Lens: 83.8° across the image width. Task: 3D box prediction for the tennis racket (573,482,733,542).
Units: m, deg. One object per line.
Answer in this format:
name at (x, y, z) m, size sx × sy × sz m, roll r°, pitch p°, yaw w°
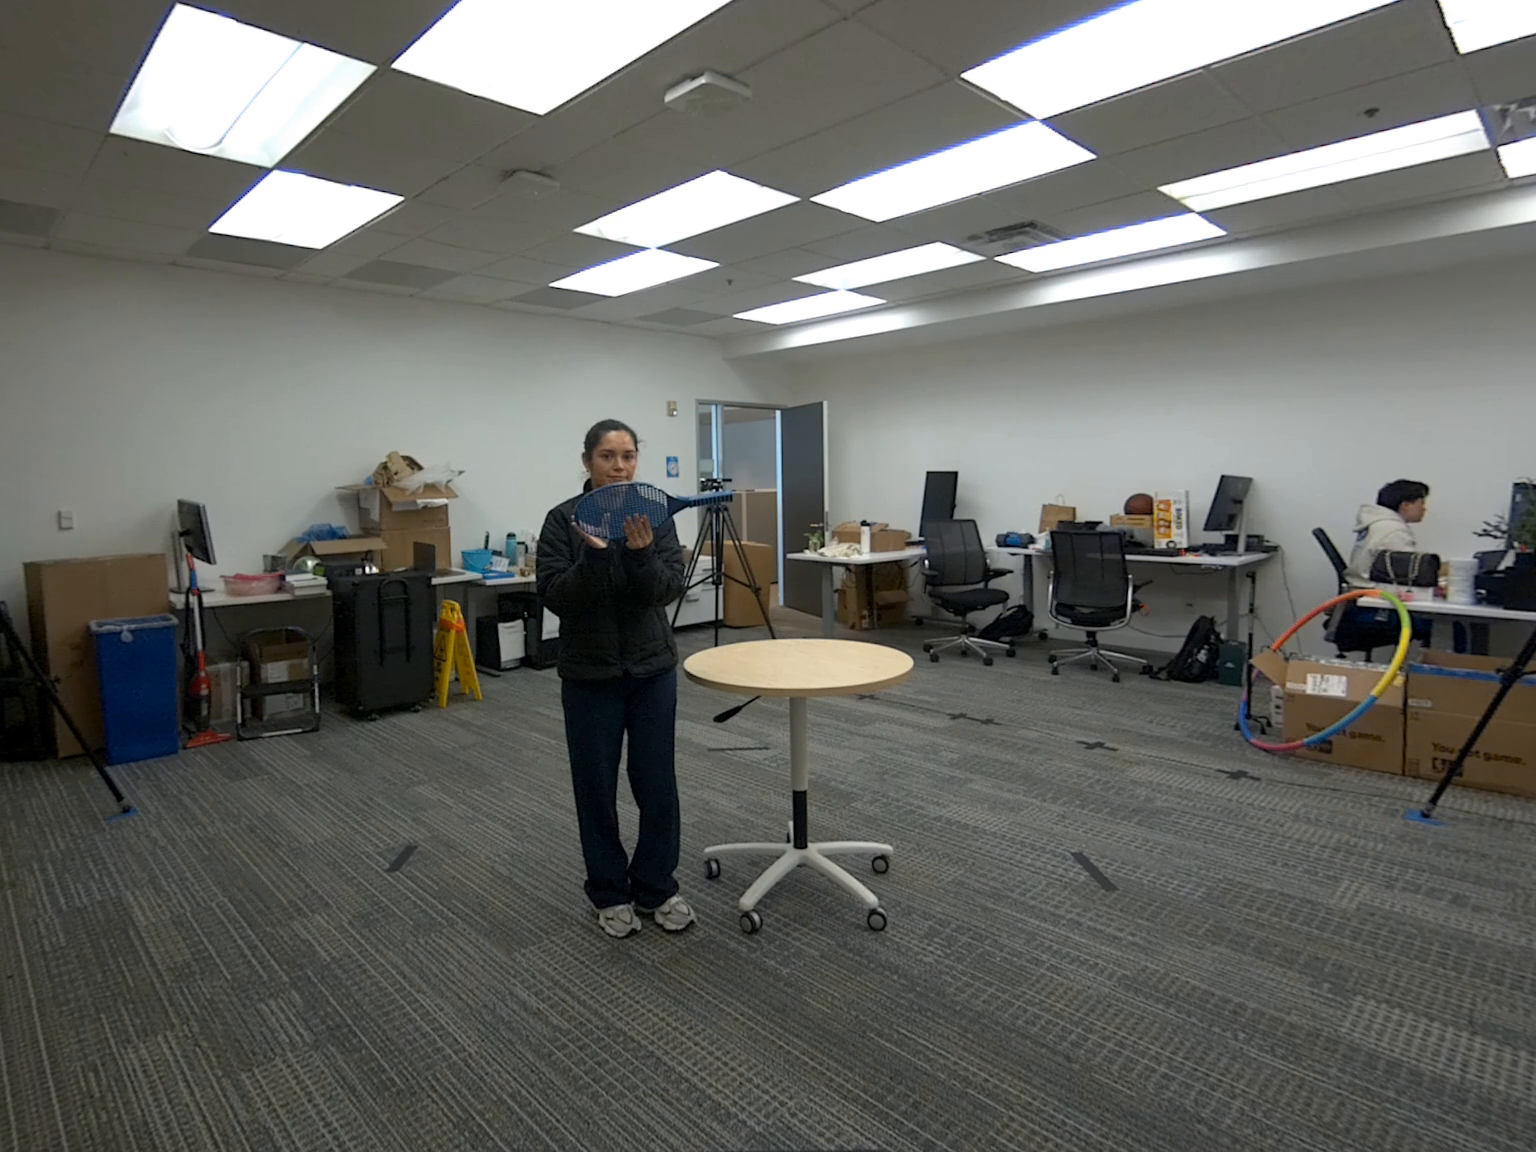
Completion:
tennis racket at (-0.304, -0.194, 2.328) m, size 0.431 × 0.033 × 0.207 m, roll -9°, pitch -38°, yaw -4°
